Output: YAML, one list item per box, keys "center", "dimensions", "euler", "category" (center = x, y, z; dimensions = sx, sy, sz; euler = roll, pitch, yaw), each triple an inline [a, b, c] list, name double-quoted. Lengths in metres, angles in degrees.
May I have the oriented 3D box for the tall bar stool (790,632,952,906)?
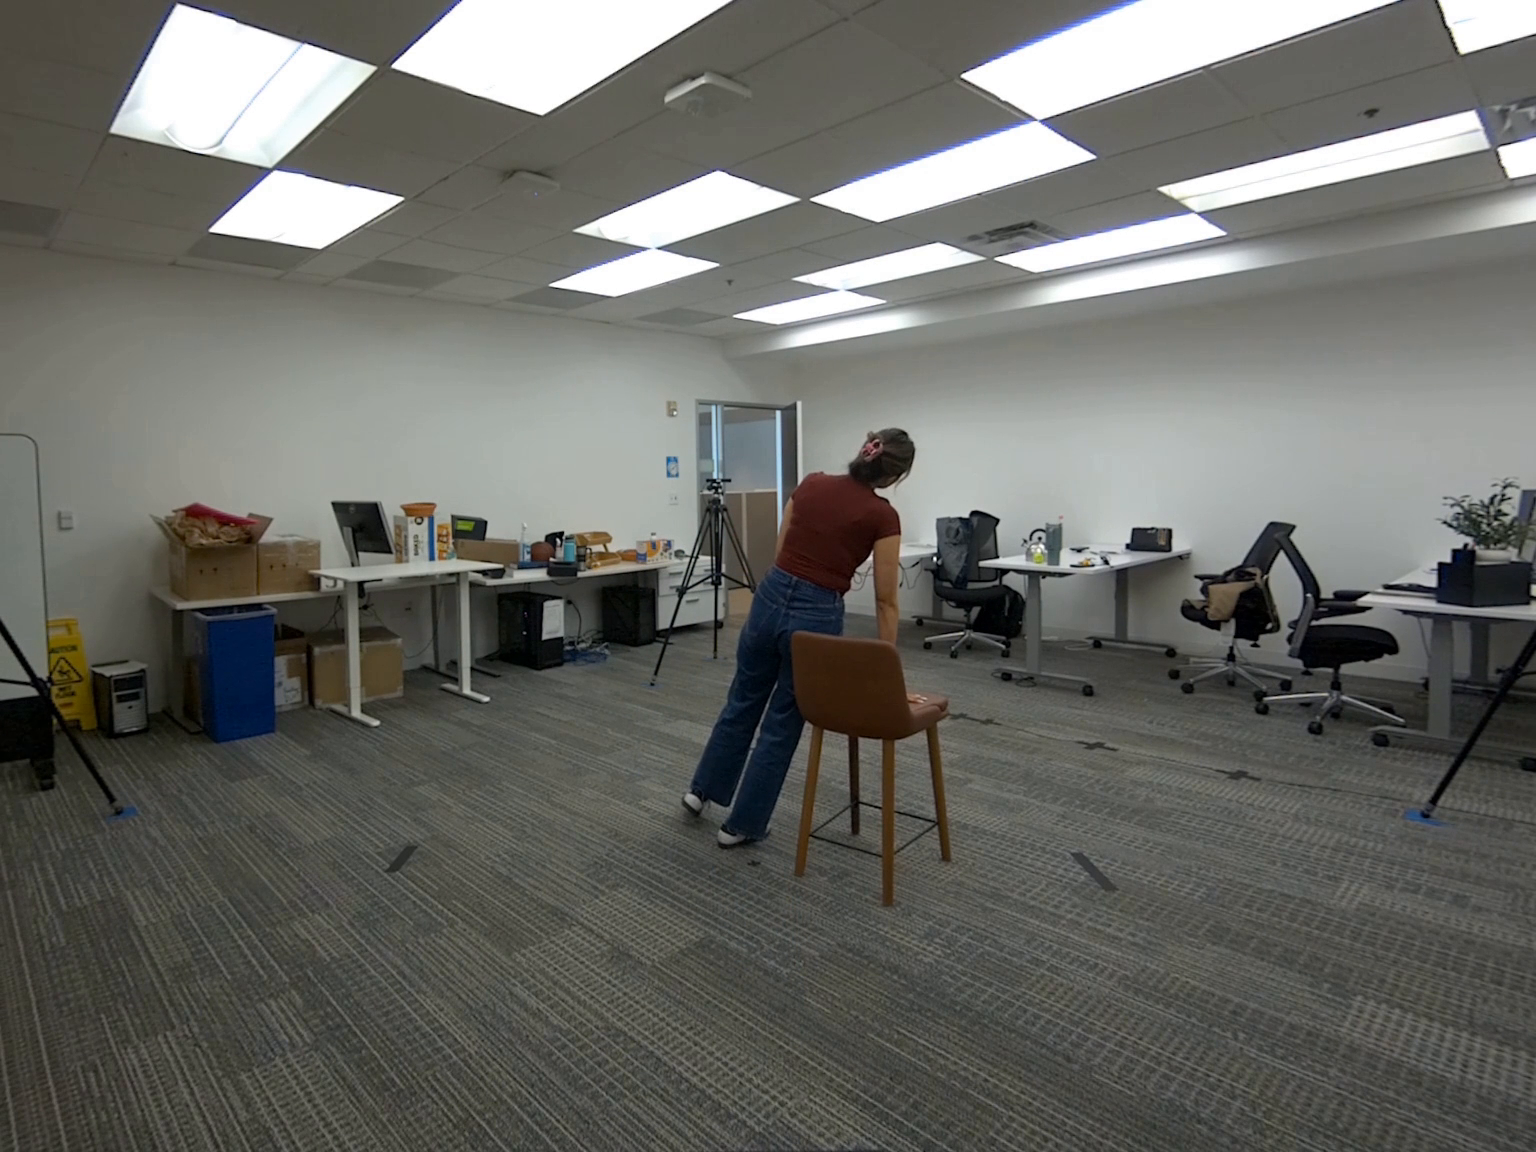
- center: [0.375, 0.616, 3.025]
  dimensions: [0.470, 0.885, 0.456]
  euler: [3, 7, 37]
  category: "tall bar stool"
